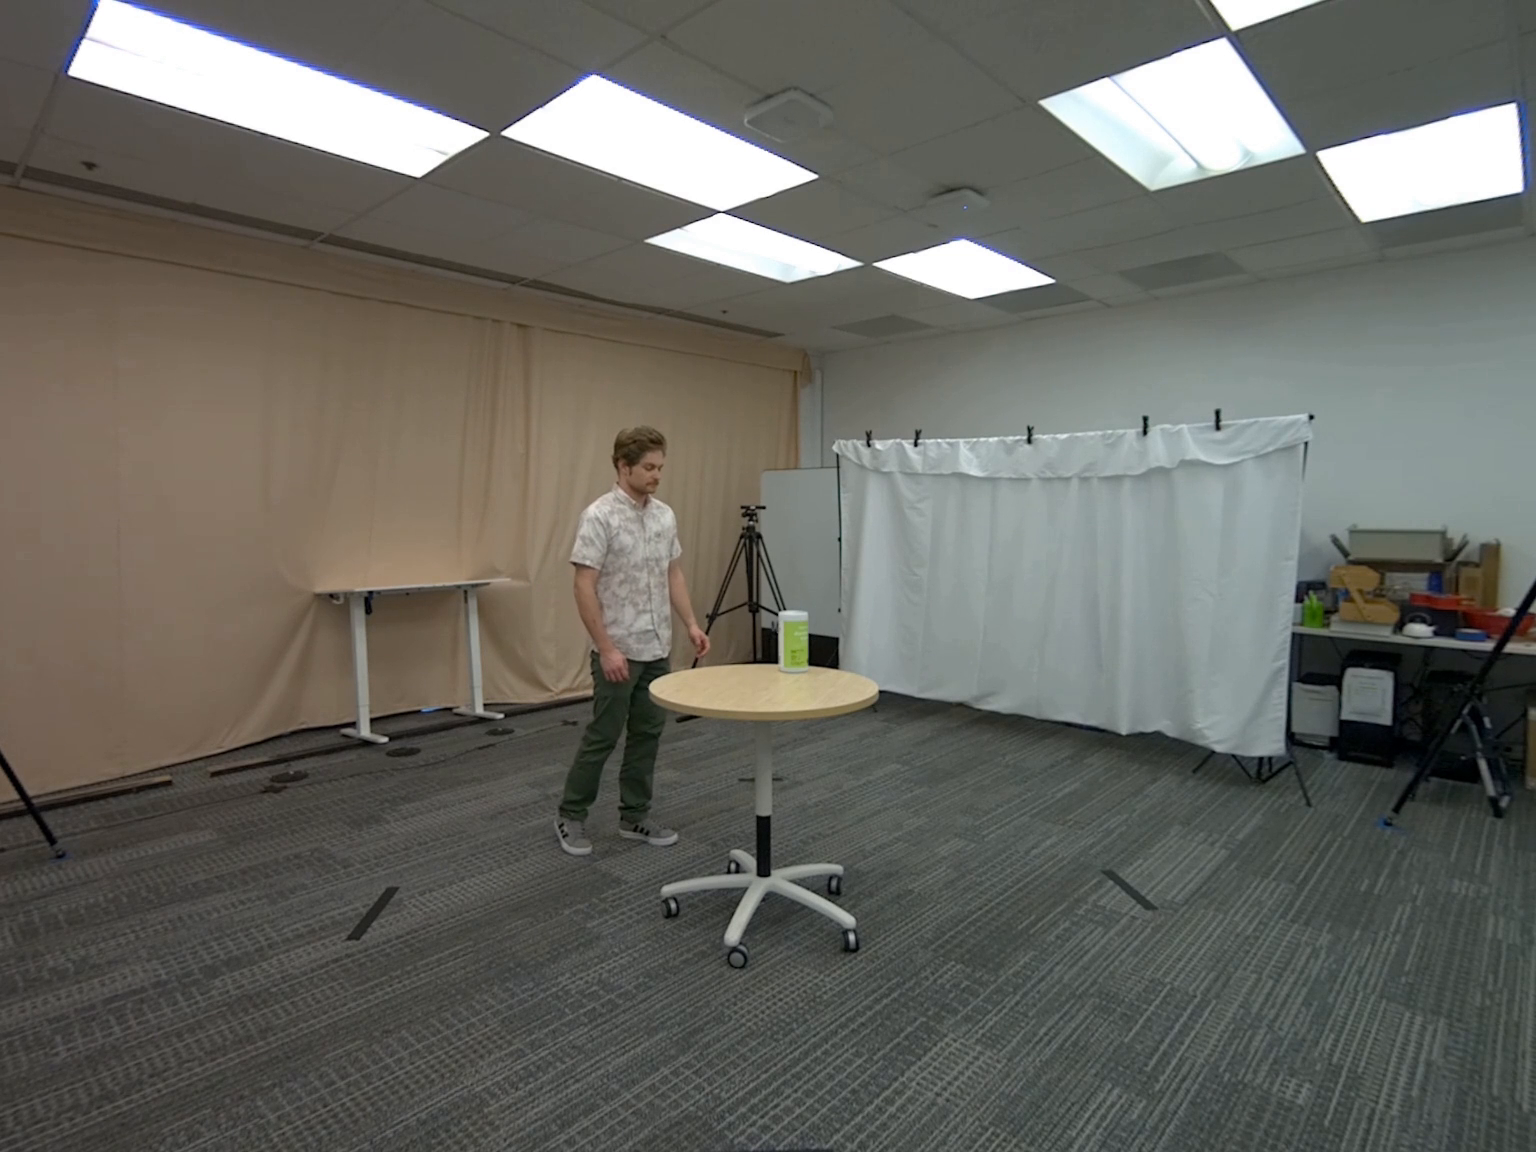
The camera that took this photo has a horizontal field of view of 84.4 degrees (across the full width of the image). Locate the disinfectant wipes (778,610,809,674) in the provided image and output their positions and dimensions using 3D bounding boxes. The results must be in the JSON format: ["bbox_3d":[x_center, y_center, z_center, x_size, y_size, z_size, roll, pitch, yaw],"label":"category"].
[{"bbox_3d":[0.098,0.241,3.070,0.118,0.217,0.118,1,2,-2],"label":"disinfectant wipes"}]
